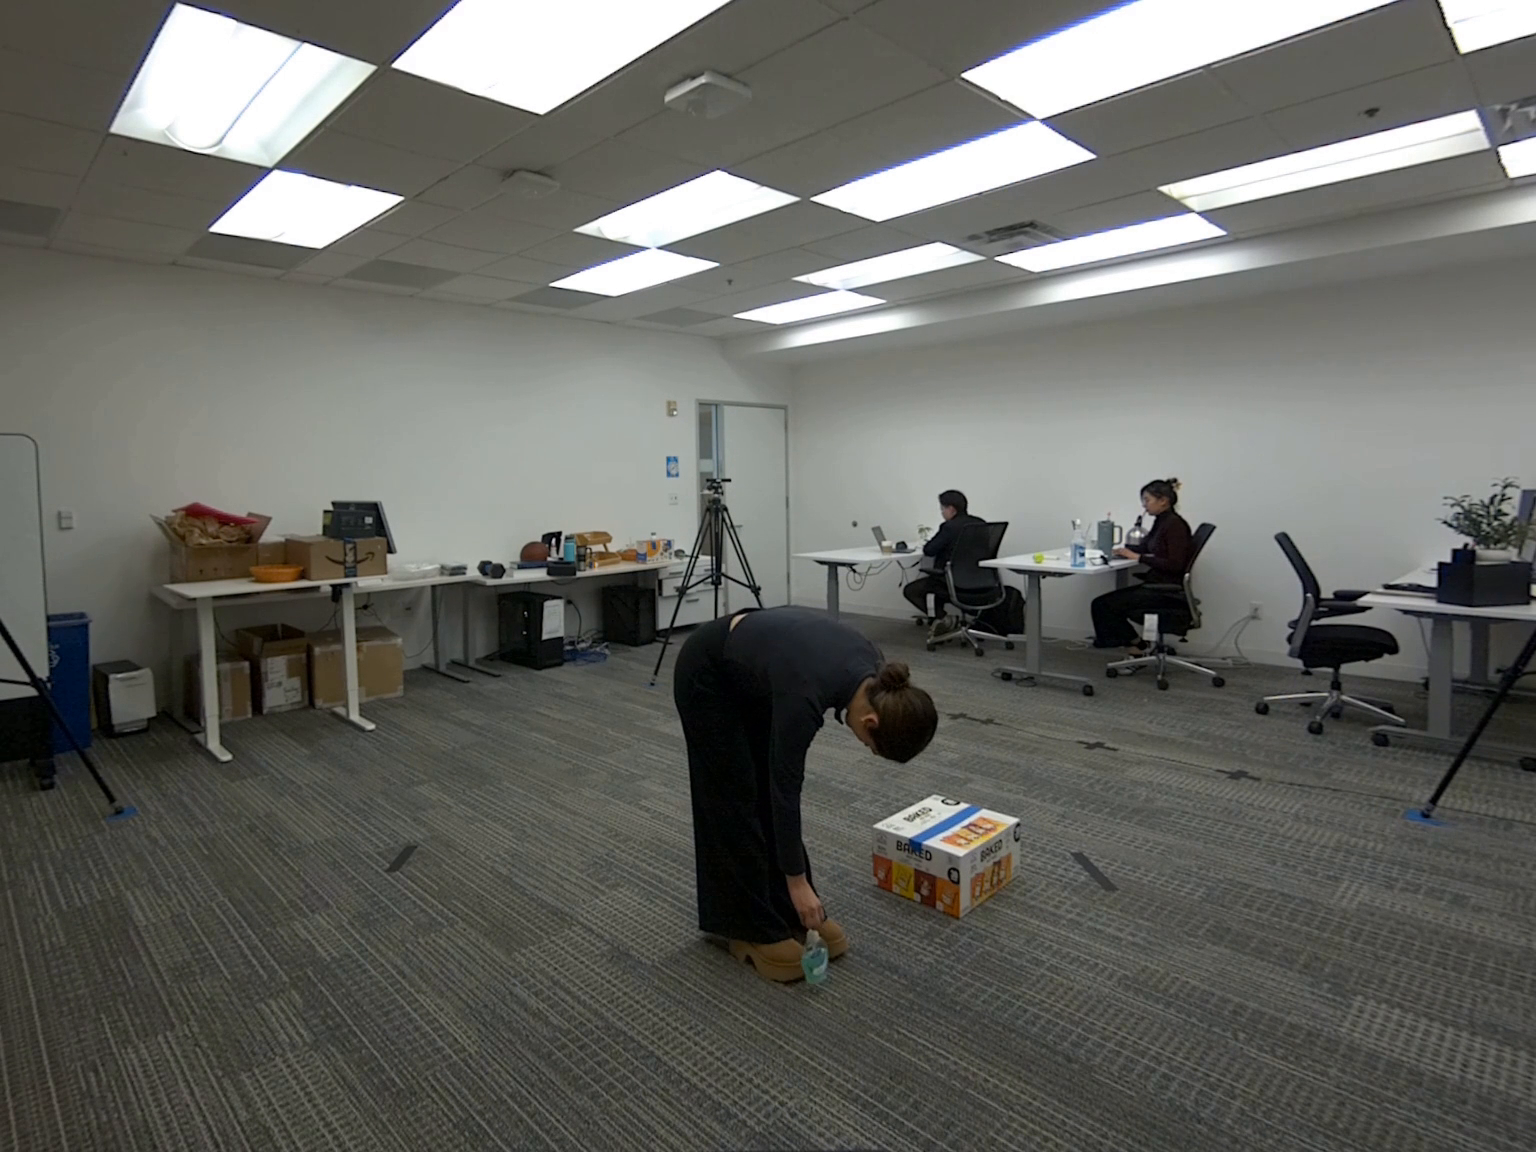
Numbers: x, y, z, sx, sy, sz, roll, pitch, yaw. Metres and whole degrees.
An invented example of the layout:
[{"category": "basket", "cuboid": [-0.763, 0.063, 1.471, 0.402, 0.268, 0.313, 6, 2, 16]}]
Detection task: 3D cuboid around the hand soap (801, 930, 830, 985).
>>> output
[{"category": "hand soap", "cuboid": [0.117, 1.014, 2.324, 0.044, 0.168, 0.082, -5, 1, 40]}]
